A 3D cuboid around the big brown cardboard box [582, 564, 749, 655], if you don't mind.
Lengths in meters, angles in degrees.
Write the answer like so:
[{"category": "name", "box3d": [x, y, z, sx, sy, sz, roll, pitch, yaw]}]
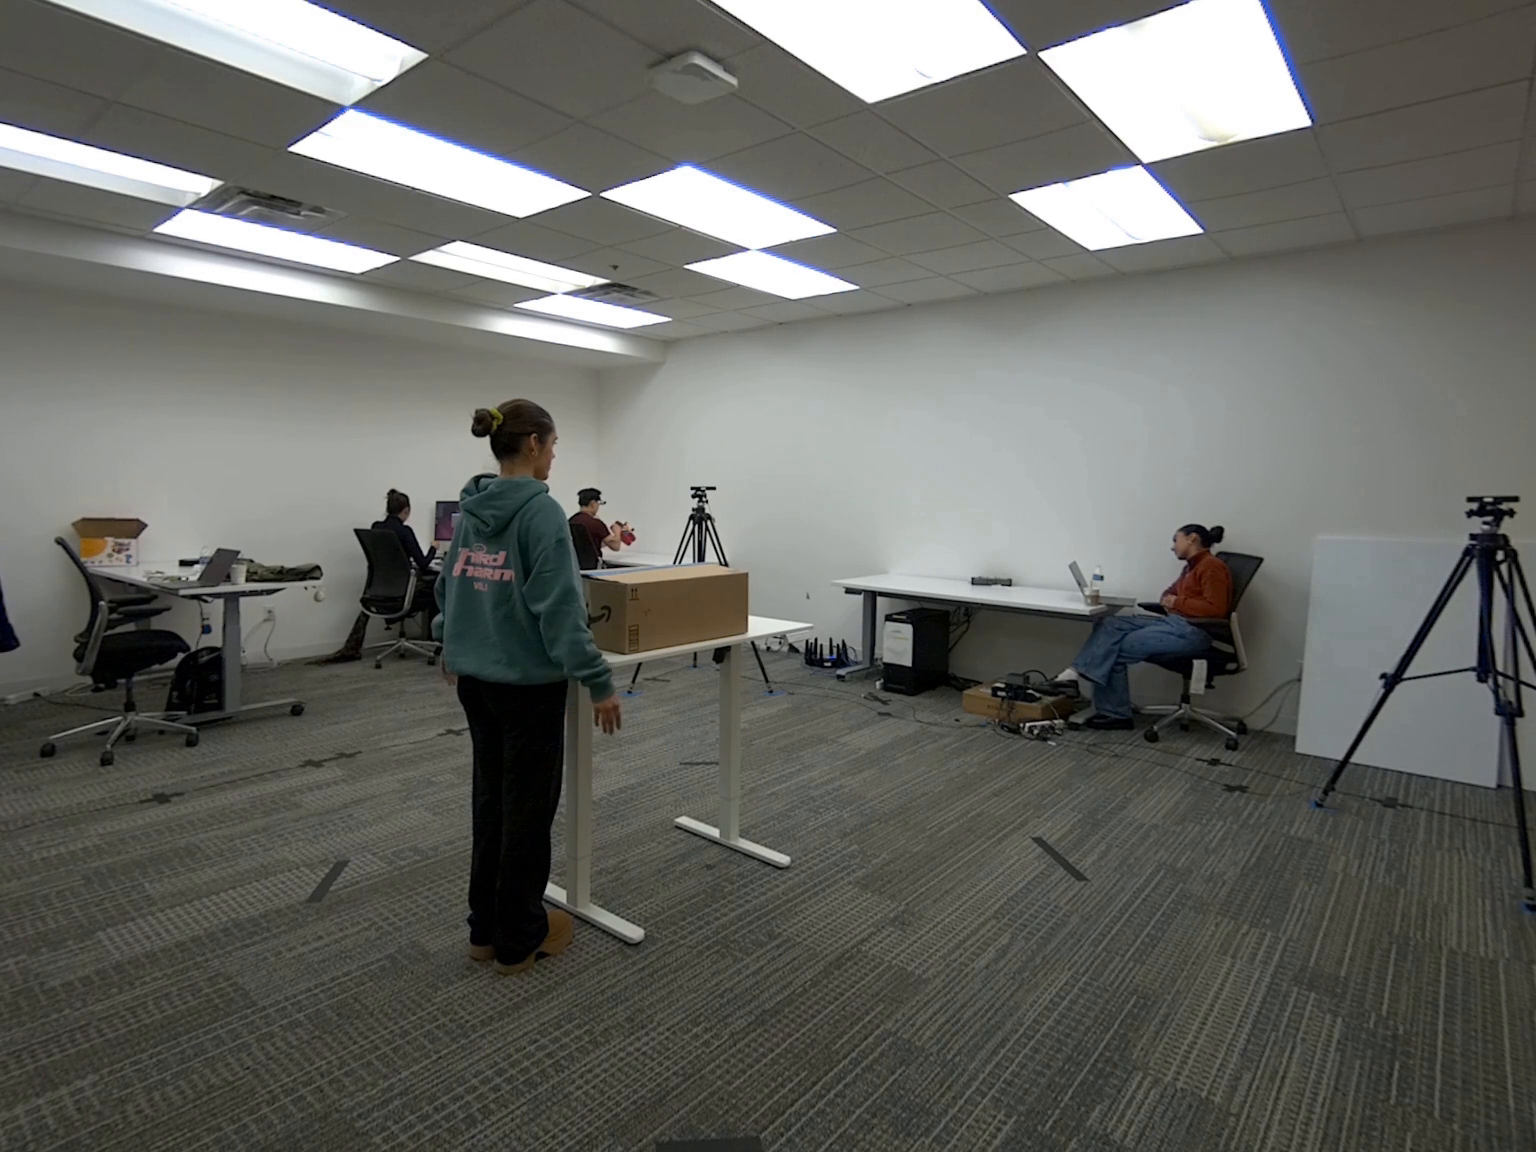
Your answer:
[{"category": "big brown cardboard box", "box3d": [-0.408, 0.092, 2.894, 0.432, 0.232, 0.572, 5, 7, 41]}]
